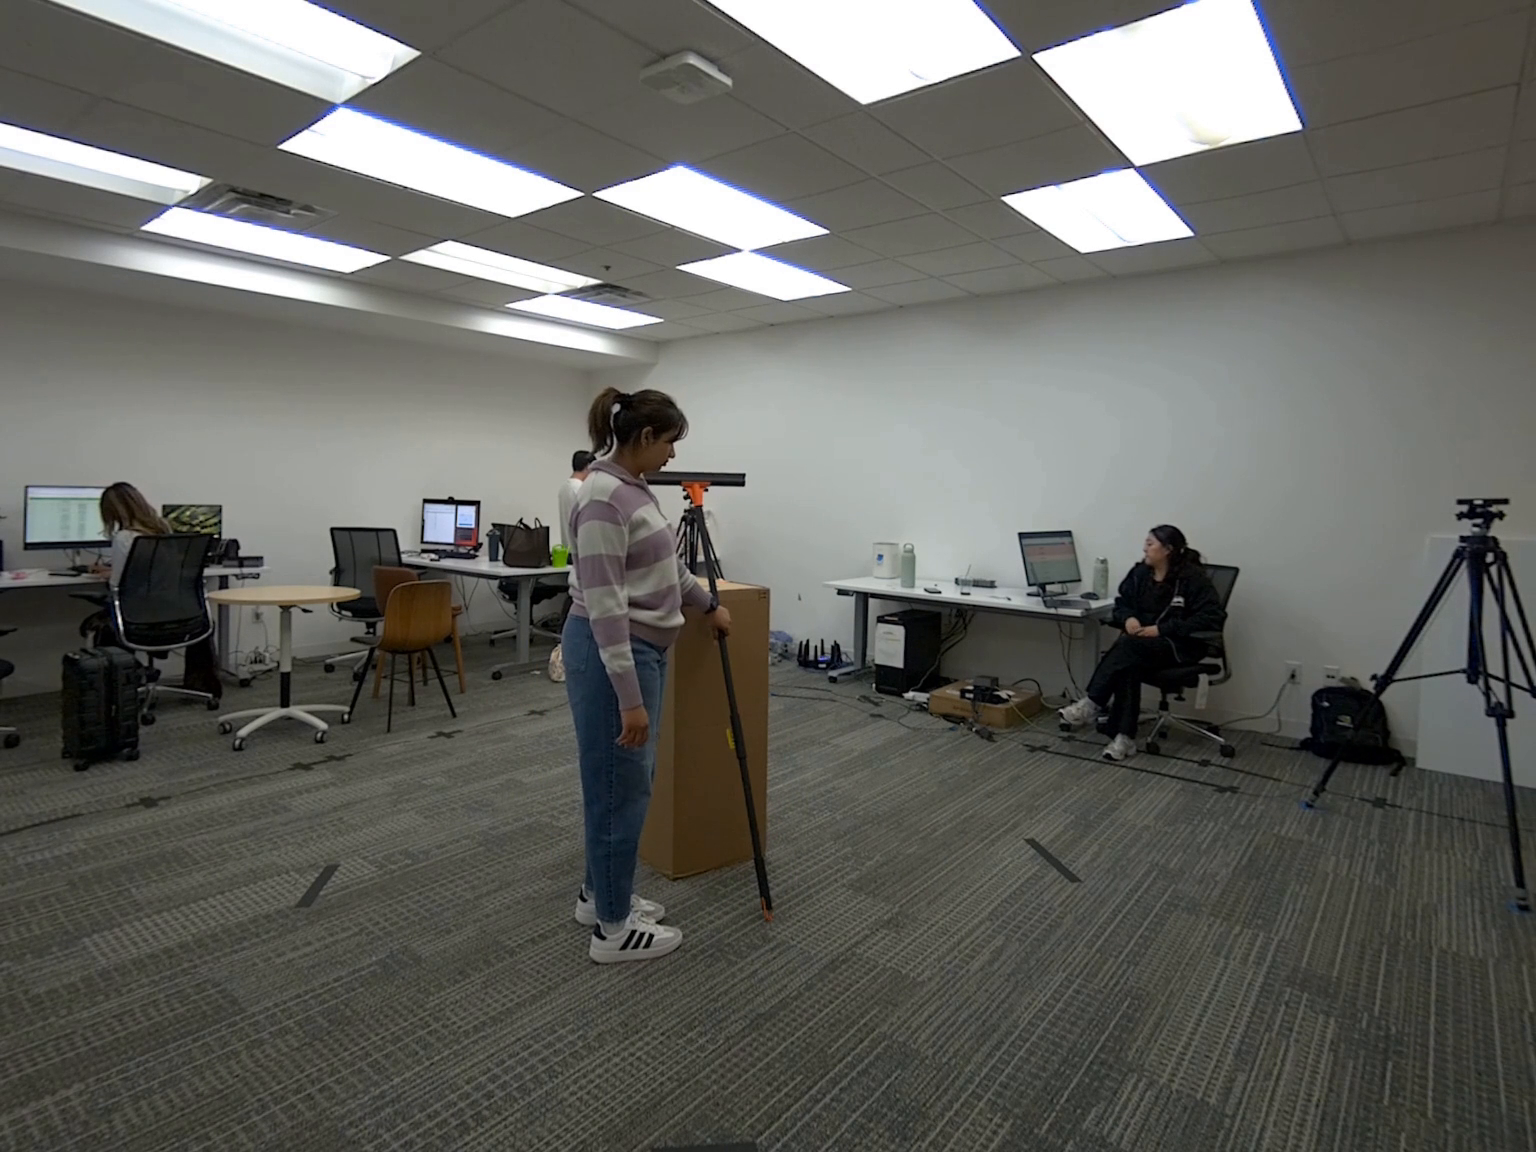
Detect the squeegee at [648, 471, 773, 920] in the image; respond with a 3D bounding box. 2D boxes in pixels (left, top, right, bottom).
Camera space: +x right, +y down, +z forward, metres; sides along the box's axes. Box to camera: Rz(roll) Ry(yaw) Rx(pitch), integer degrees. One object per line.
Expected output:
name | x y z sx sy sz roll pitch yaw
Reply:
squeegee | -0.135 0.361 2.950 0.426 1.564 0.053 -3 -17 -31
